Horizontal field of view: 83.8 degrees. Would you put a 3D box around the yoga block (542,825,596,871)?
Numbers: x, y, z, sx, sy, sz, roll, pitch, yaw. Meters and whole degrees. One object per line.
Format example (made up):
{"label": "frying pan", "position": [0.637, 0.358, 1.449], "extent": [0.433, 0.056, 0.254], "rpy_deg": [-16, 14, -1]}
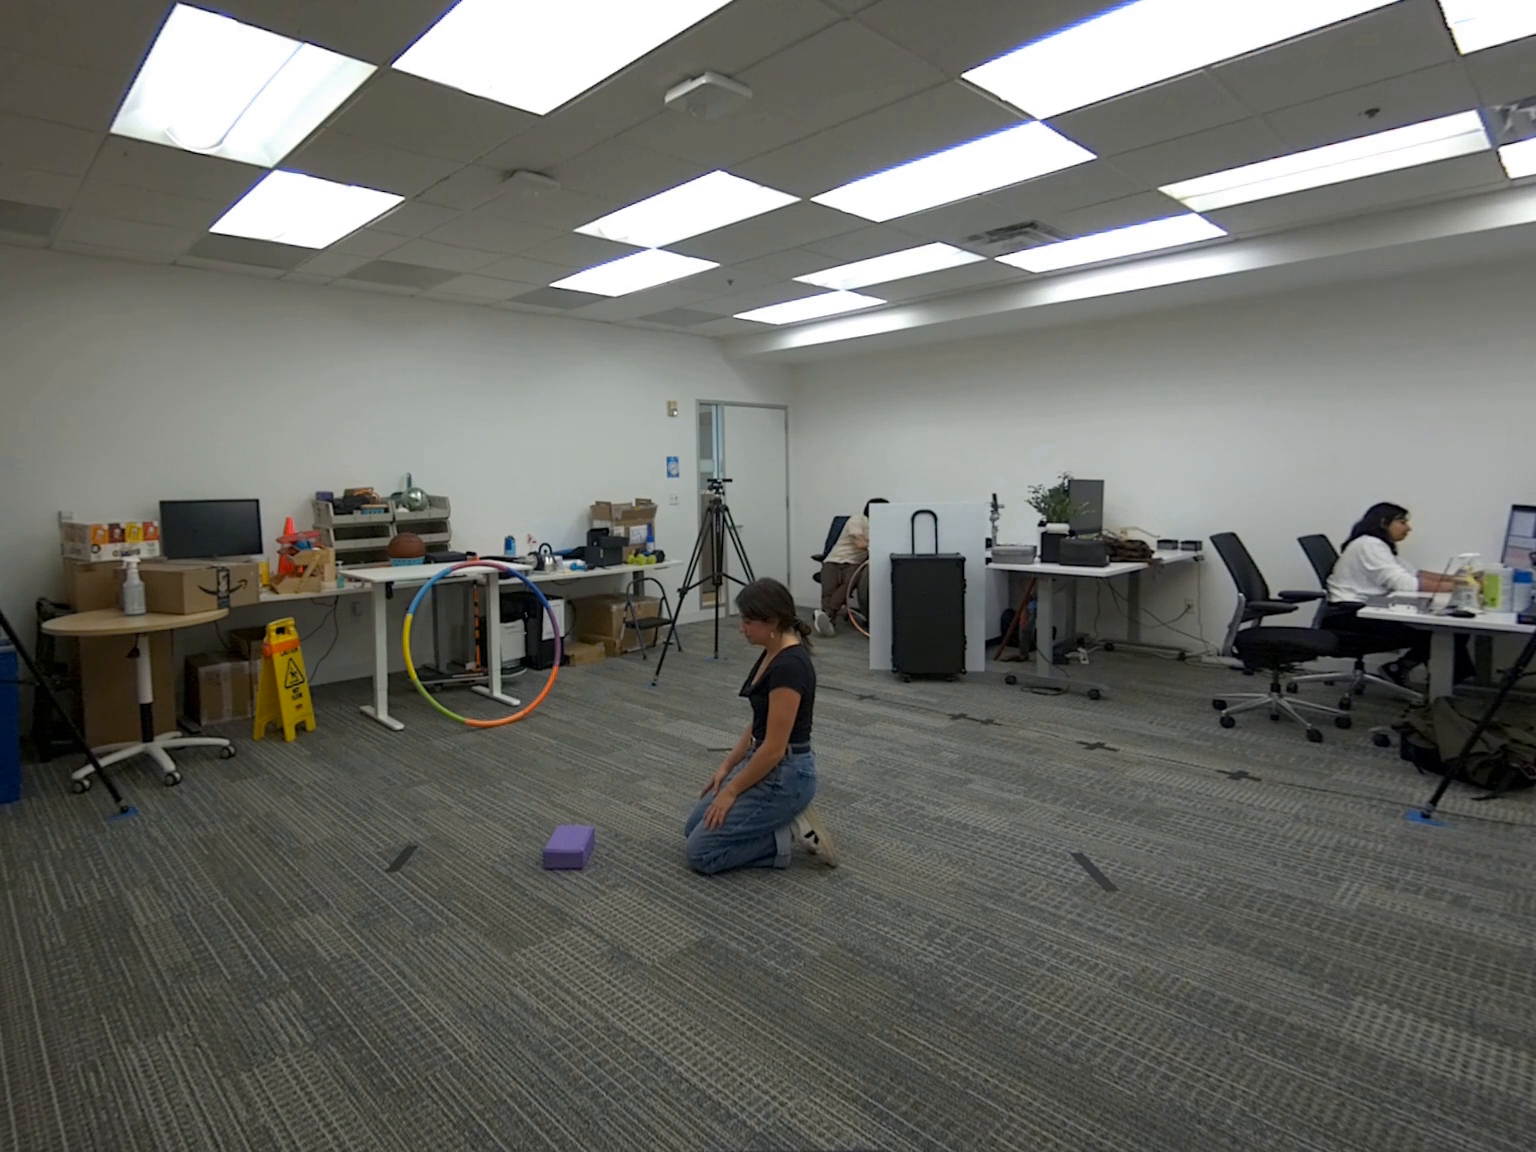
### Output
{"label": "yoga block", "position": [-0.734, 1.008, 3.193], "extent": [0.149, 0.076, 0.230], "rpy_deg": [1, 7, 1]}
